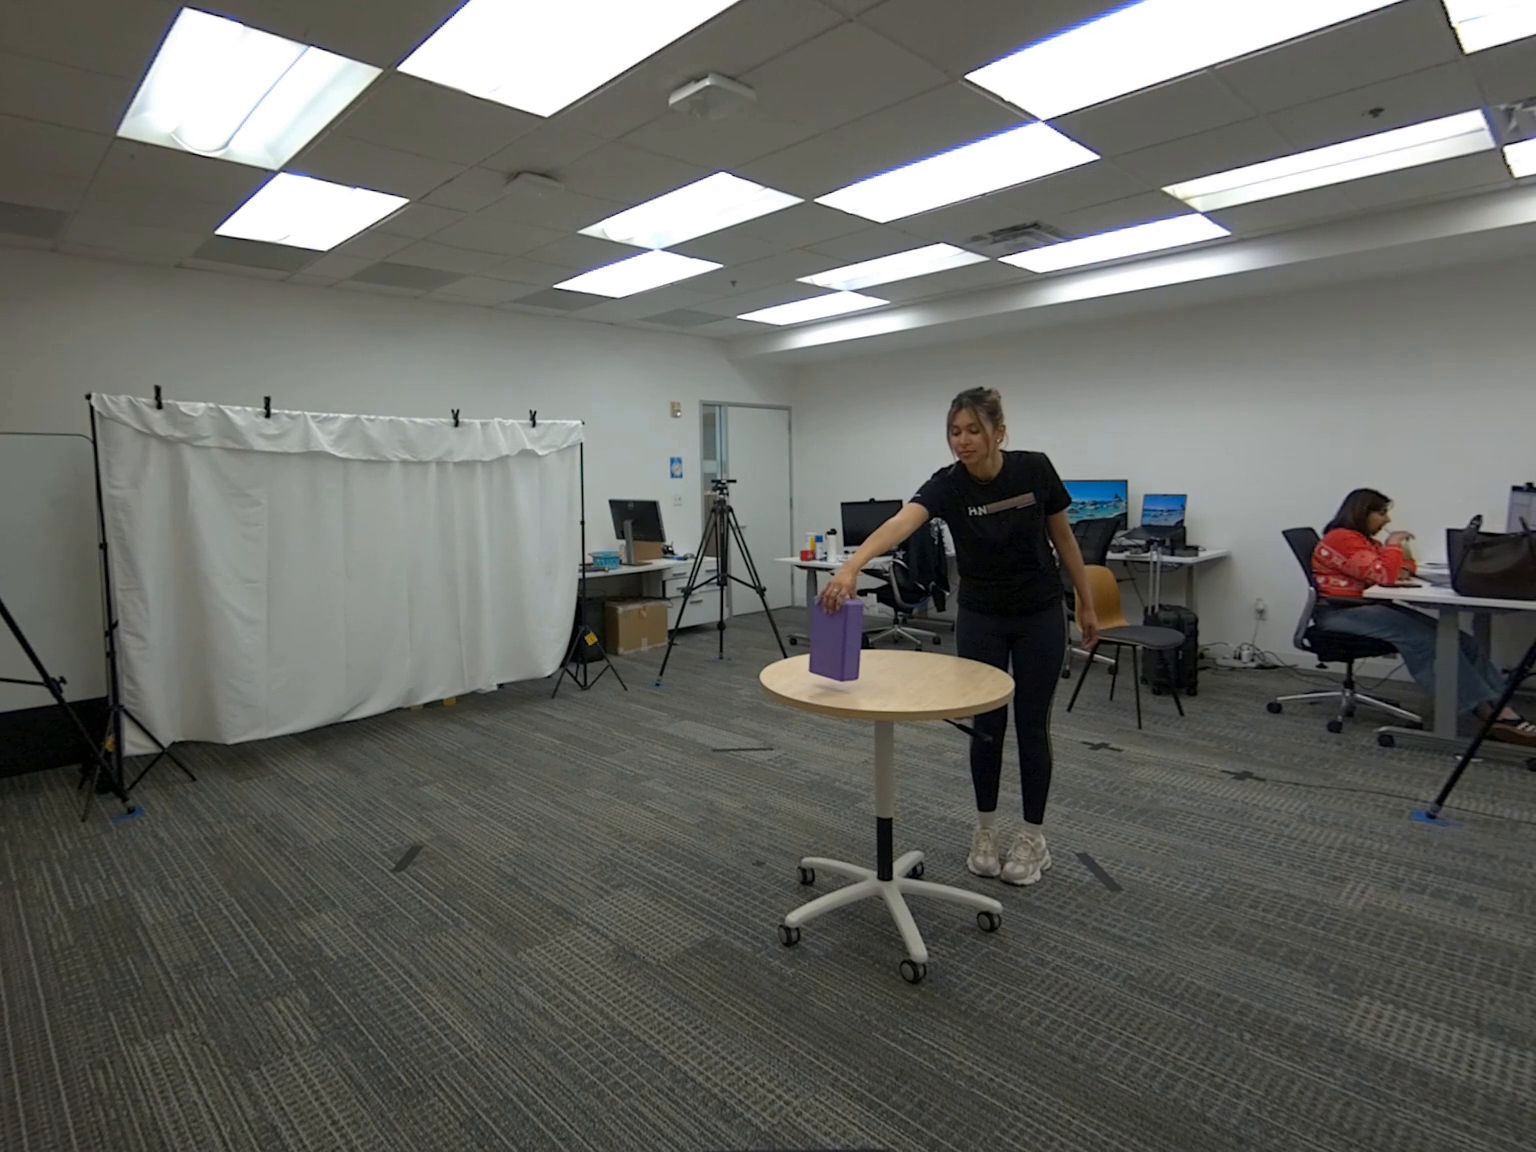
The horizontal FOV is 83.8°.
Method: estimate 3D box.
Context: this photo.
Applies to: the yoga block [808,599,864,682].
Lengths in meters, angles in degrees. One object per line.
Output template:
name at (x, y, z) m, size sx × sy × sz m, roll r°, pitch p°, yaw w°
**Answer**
yoga block at (0.210, 0.180, 2.477) m, size 0.074 × 0.229 × 0.154 m, roll 2°, pitch 4°, yaw -39°
